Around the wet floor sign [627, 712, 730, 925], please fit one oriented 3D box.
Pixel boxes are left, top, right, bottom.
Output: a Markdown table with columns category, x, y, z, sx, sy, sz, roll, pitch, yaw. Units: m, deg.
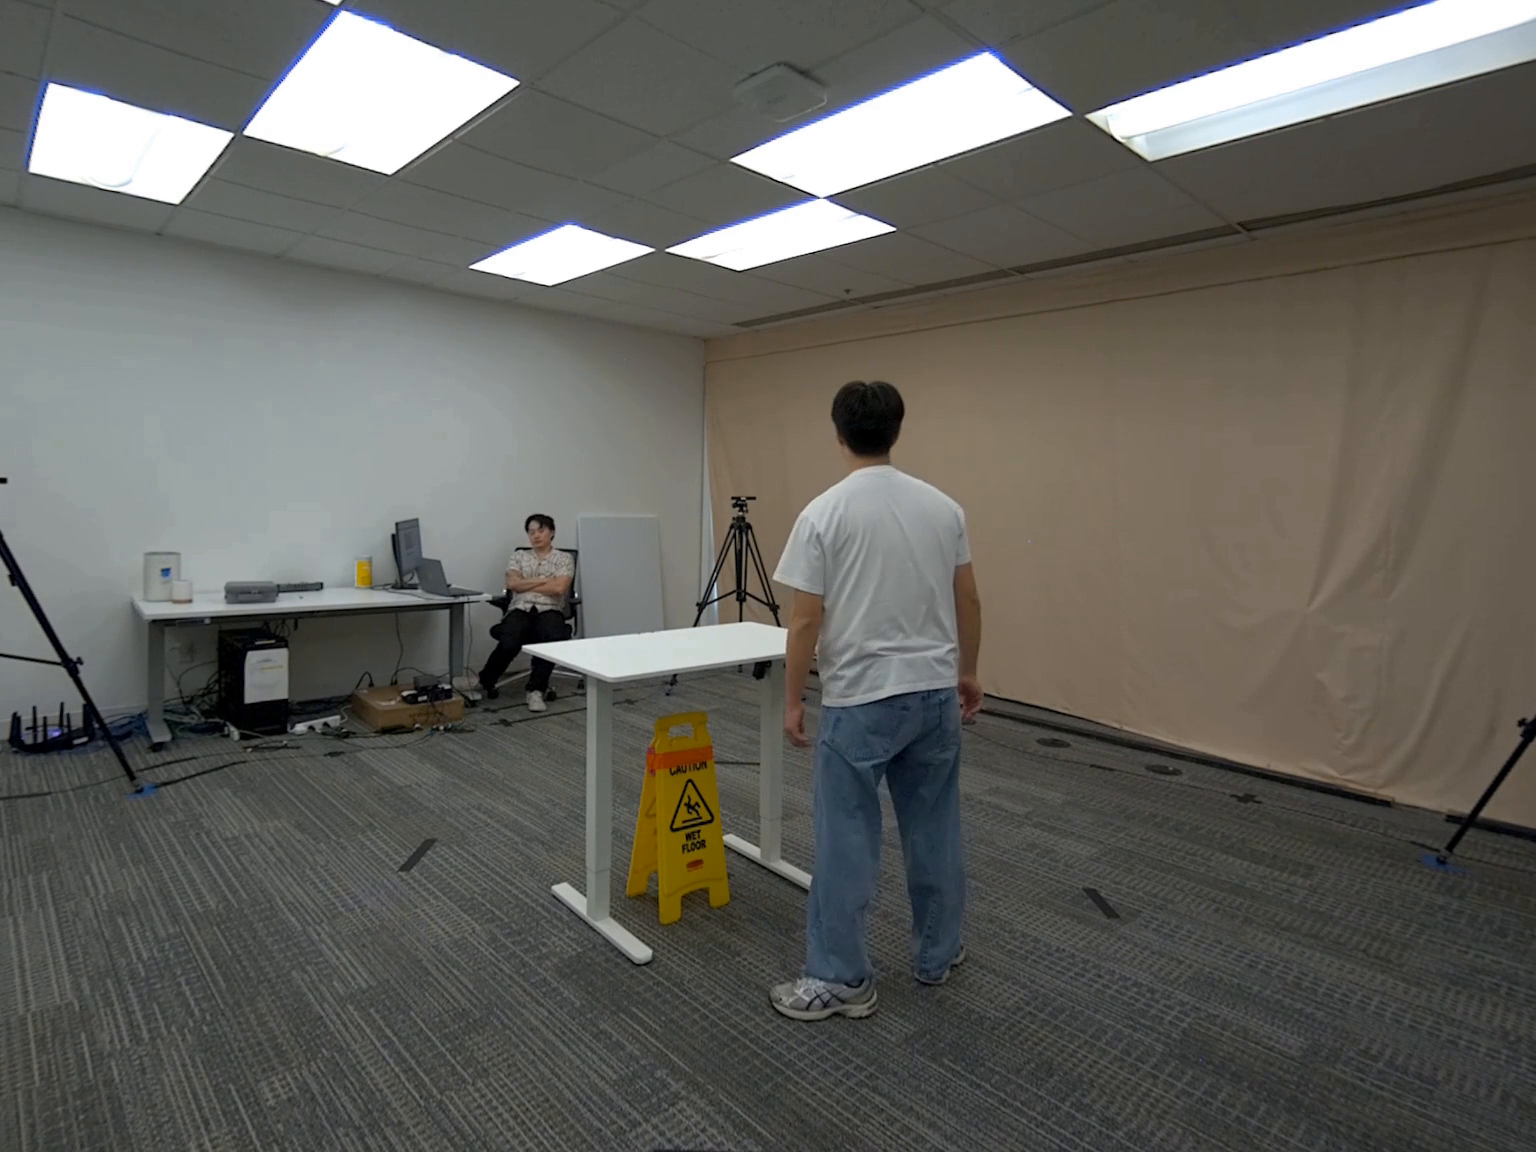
| category | x | y | z | sx | sy | sz | roll | pitch | yaw |
| --- | --- | --- | --- | --- | --- | --- | --- | --- | --- |
| wet floor sign | -0.311 | 0.796 | 2.890 | 0.276 | 0.645 | 0.297 | -1 | 4 | -37 |
